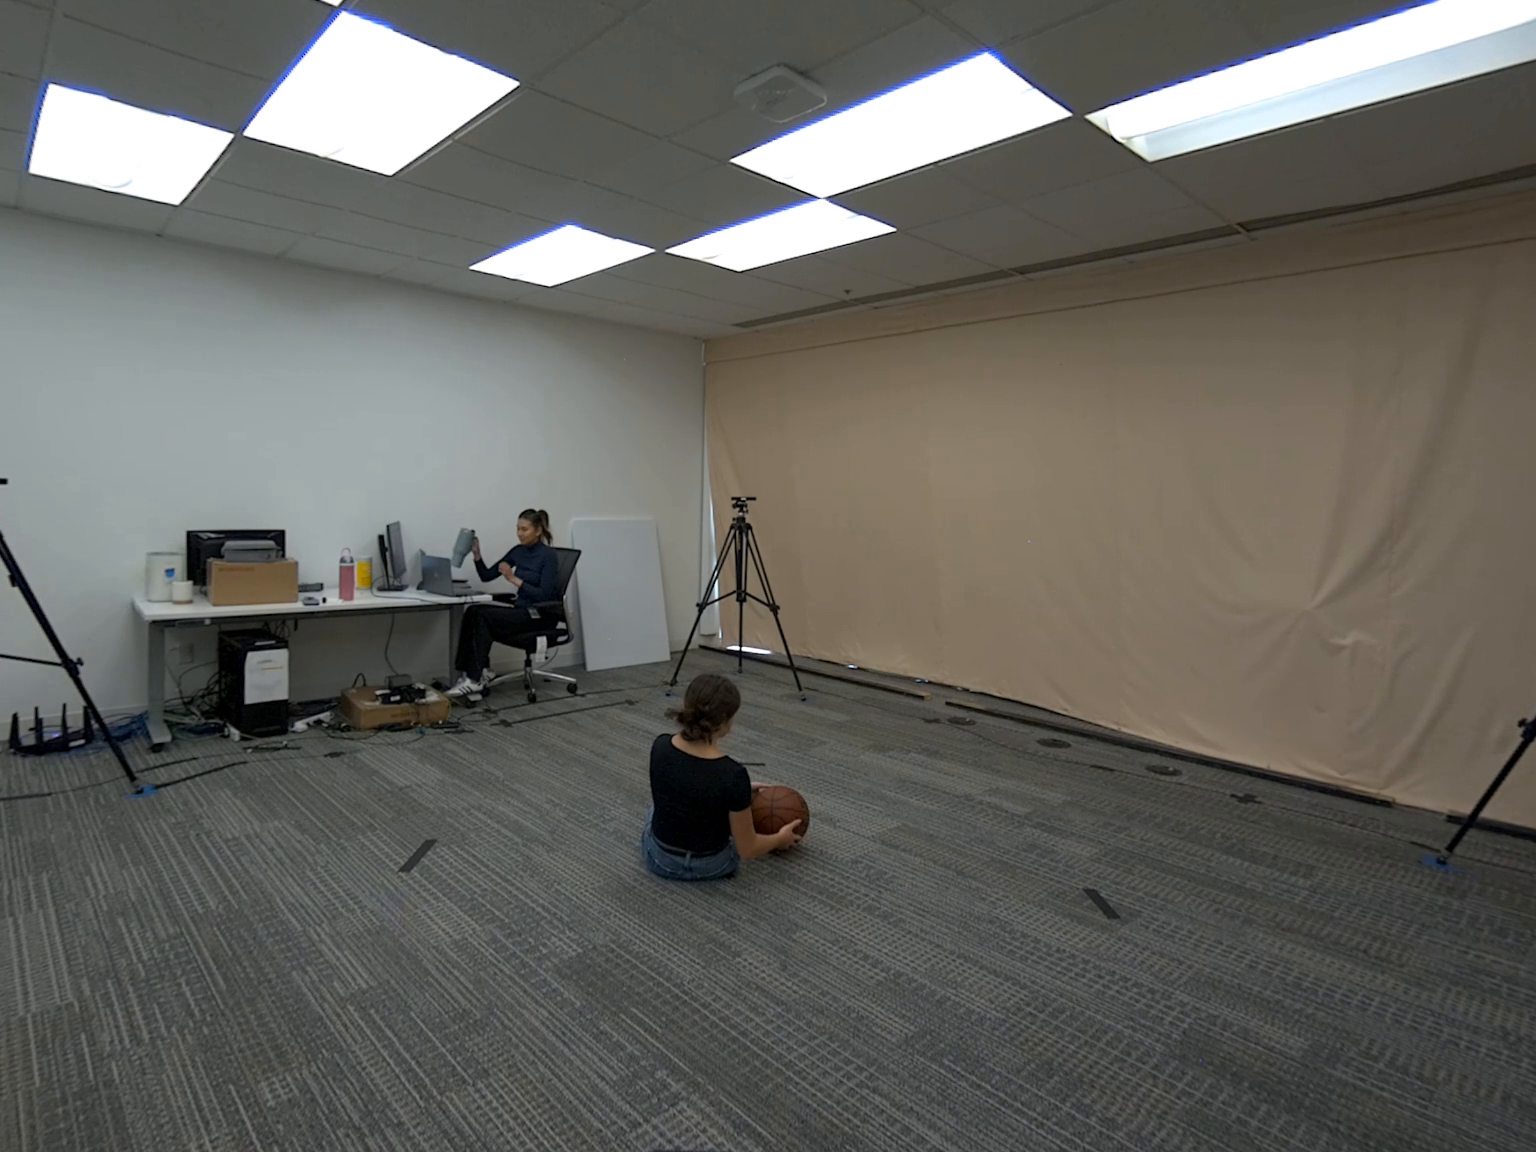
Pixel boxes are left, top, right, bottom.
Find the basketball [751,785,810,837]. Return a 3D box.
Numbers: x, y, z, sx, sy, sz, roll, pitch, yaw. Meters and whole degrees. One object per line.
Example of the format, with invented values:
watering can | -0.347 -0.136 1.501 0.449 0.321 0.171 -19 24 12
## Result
basketball | 0.037 0.946 3.354 0.236 0.235 0.237 1 4 -1
